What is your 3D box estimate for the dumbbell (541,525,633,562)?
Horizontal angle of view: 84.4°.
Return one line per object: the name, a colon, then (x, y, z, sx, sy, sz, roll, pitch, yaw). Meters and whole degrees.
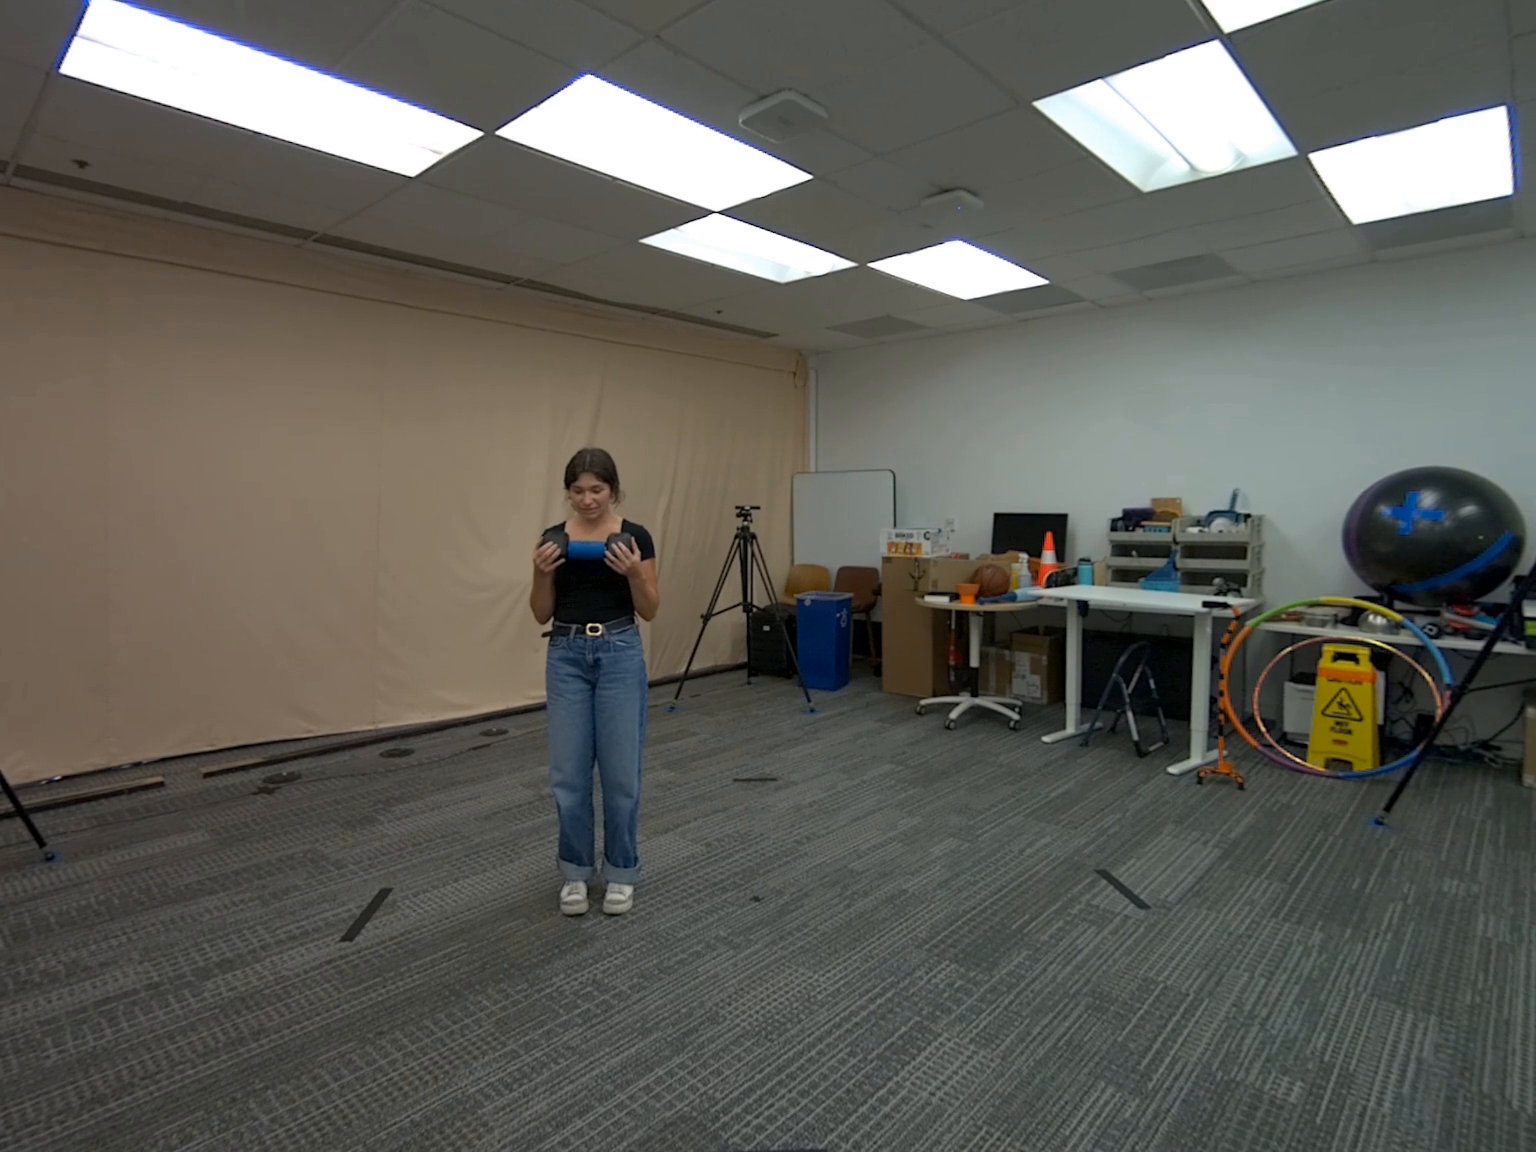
dumbbell: (-0.608, -0.080, 2.825, 0.294, 0.124, 0.107, 3, -14, 2)
